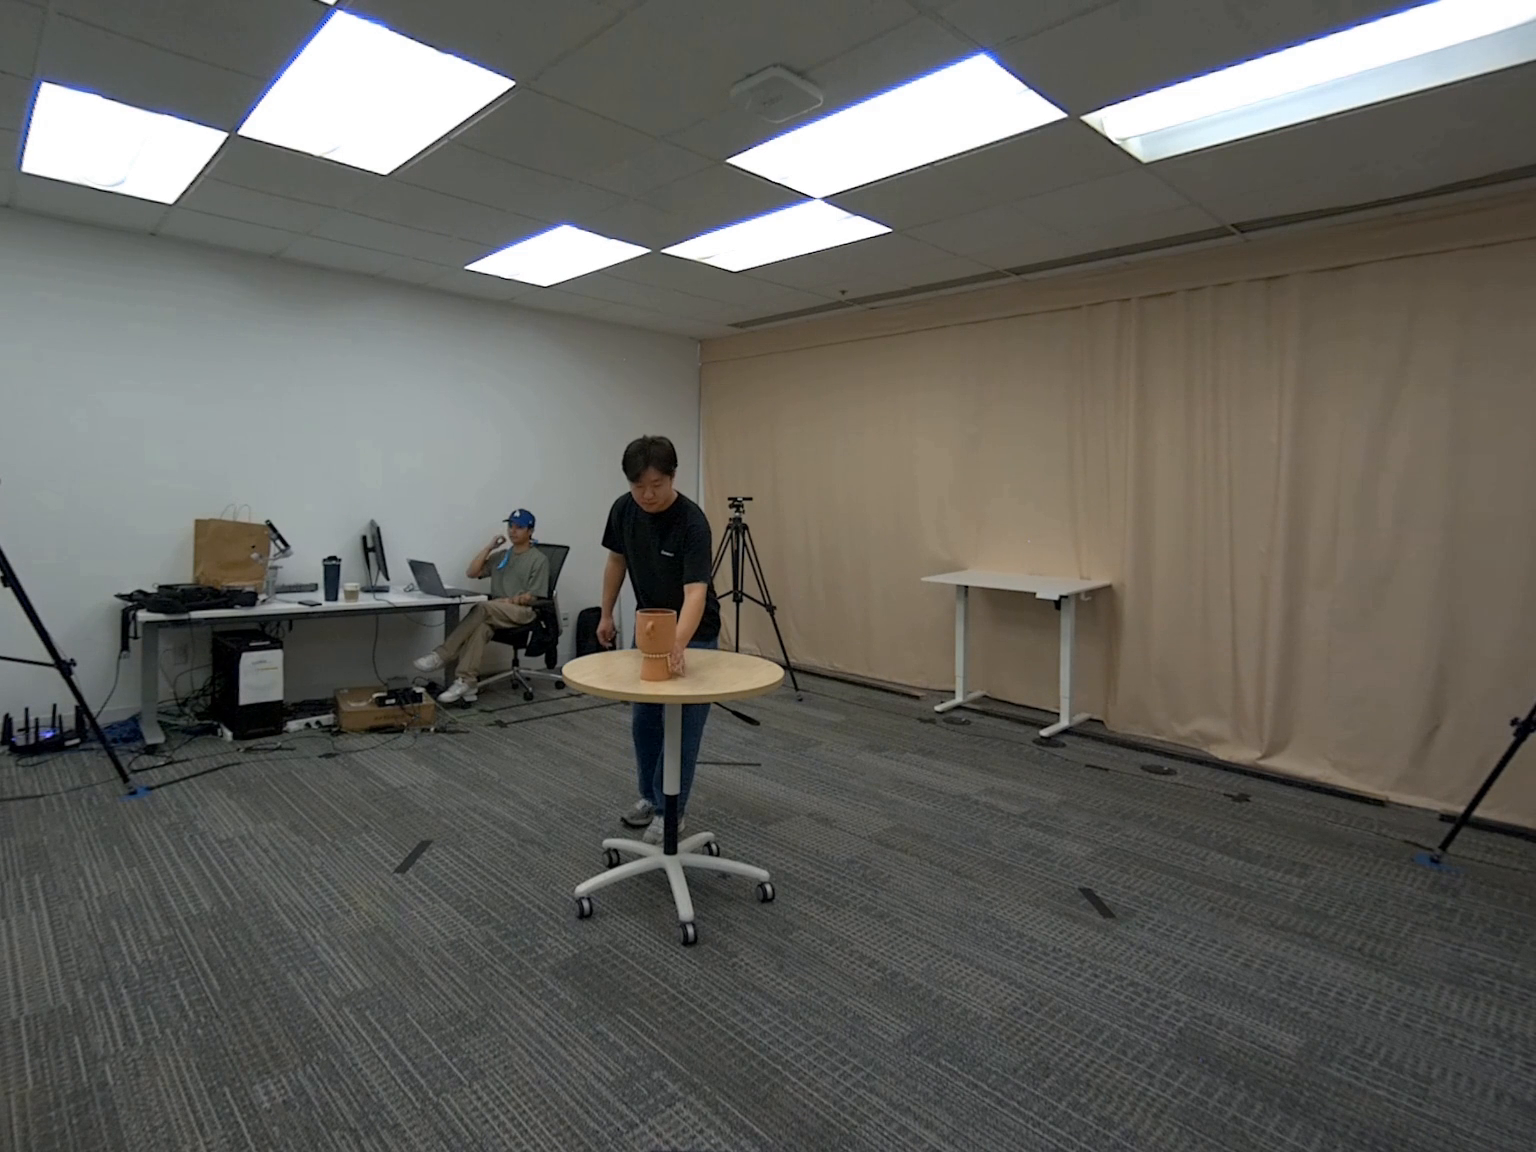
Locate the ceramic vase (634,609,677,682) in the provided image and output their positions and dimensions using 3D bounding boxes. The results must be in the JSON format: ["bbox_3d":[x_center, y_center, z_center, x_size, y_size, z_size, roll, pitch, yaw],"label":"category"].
[{"bbox_3d":[-0.379,0.228,2.755,0.155,0.219,0.138,0,7,-43],"label":"ceramic vase"}]
